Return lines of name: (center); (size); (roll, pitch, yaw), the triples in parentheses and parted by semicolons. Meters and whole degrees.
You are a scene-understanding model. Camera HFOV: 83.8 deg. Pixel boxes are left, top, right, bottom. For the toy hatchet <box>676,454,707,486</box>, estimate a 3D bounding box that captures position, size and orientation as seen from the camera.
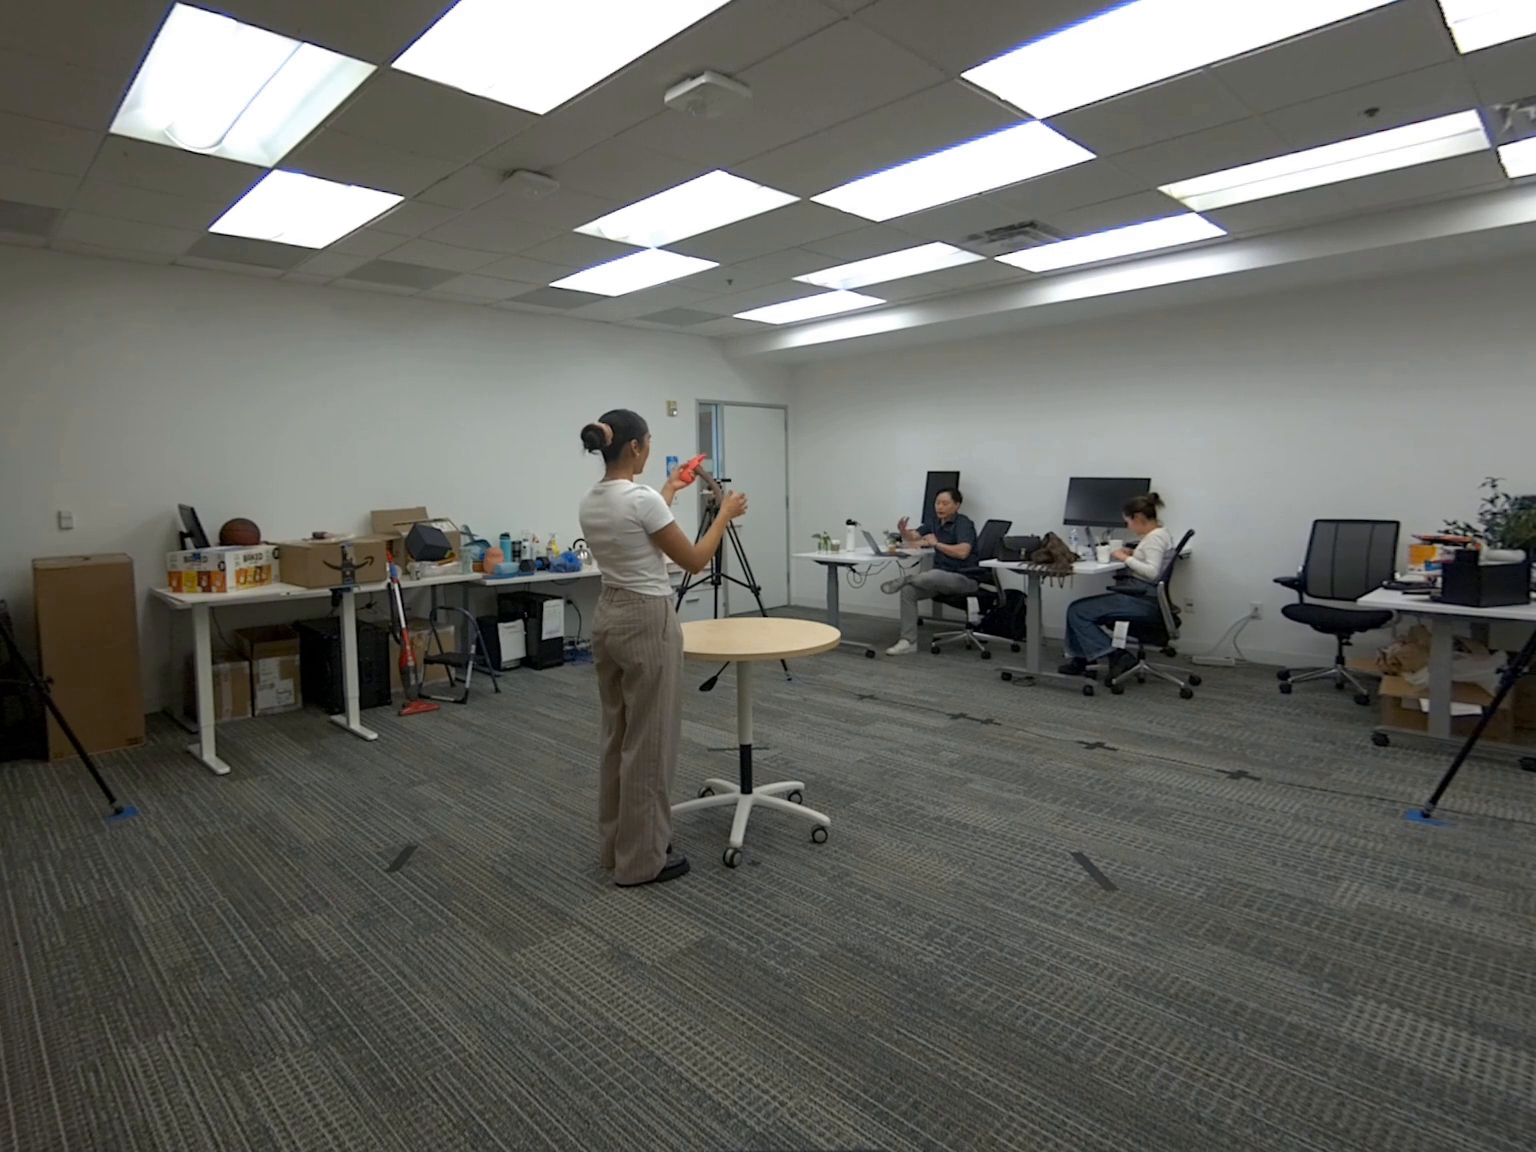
toy hatchet: (-0.258, -0.347, 3.284); (0.131, 0.279, 0.028); (-27, -34, 9)
